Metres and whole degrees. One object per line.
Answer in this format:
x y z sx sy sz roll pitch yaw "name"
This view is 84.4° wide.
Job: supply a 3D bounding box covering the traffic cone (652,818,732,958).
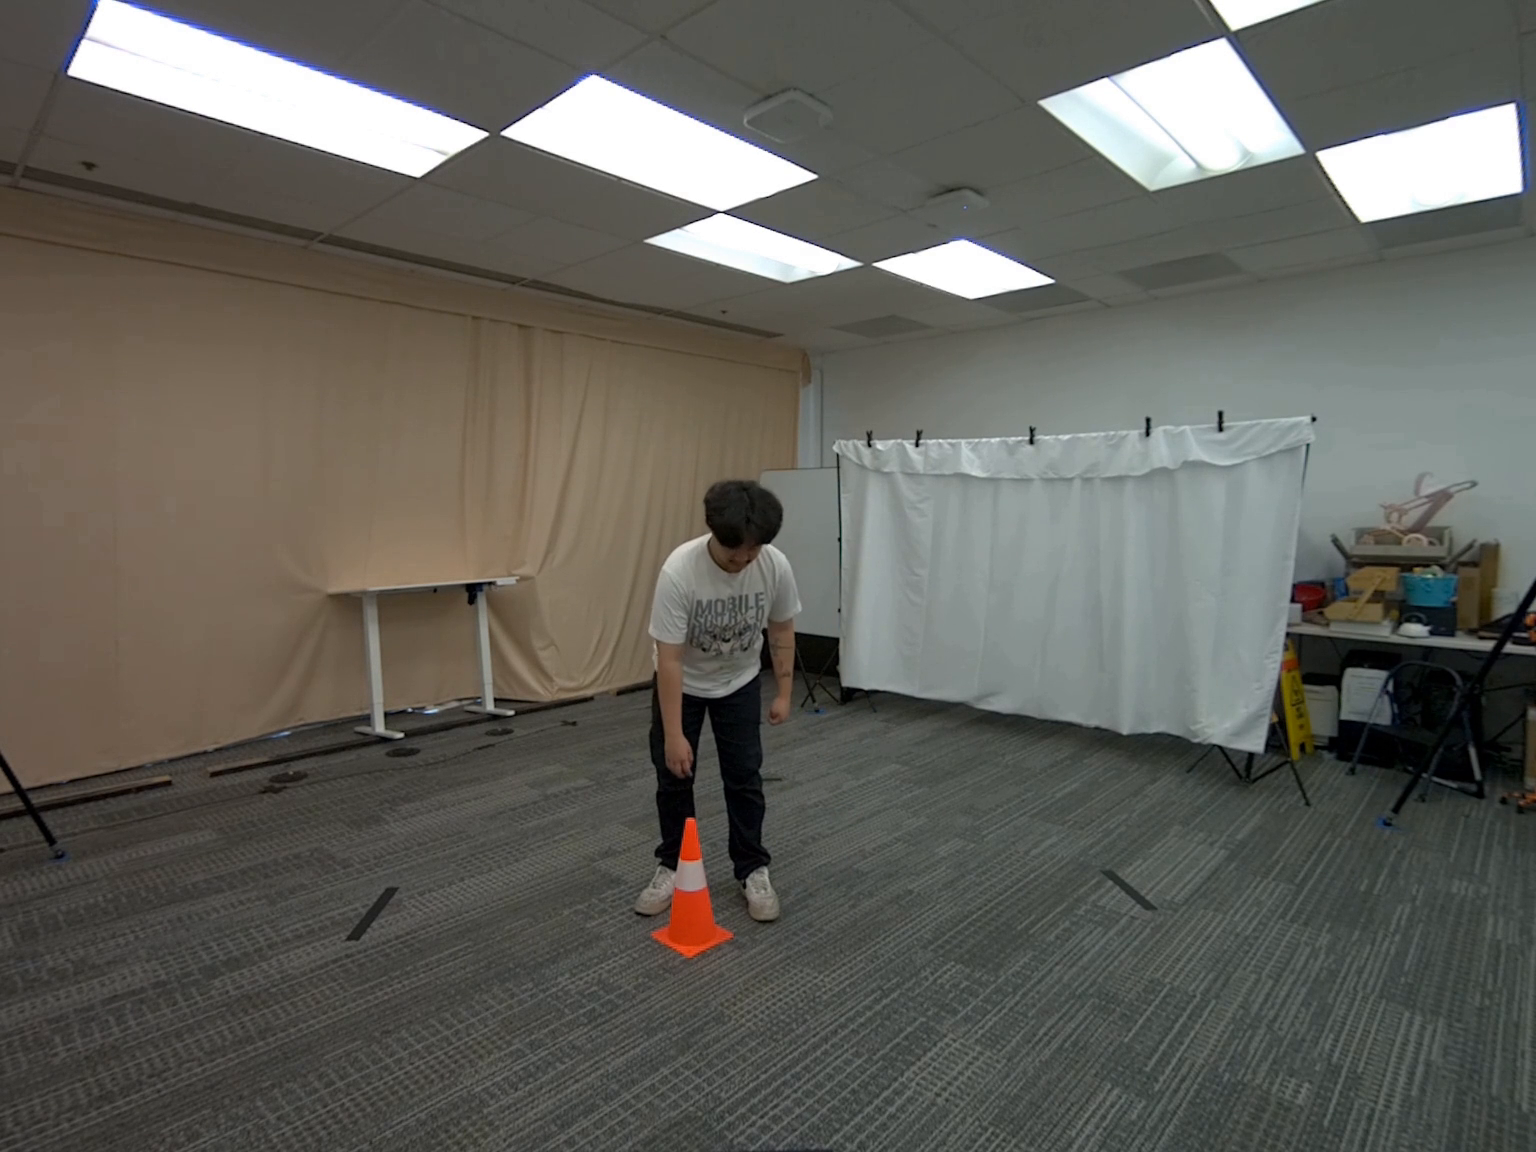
-0.240 0.974 2.728 0.199 0.383 0.210 -3 4 -41 "traffic cone"
